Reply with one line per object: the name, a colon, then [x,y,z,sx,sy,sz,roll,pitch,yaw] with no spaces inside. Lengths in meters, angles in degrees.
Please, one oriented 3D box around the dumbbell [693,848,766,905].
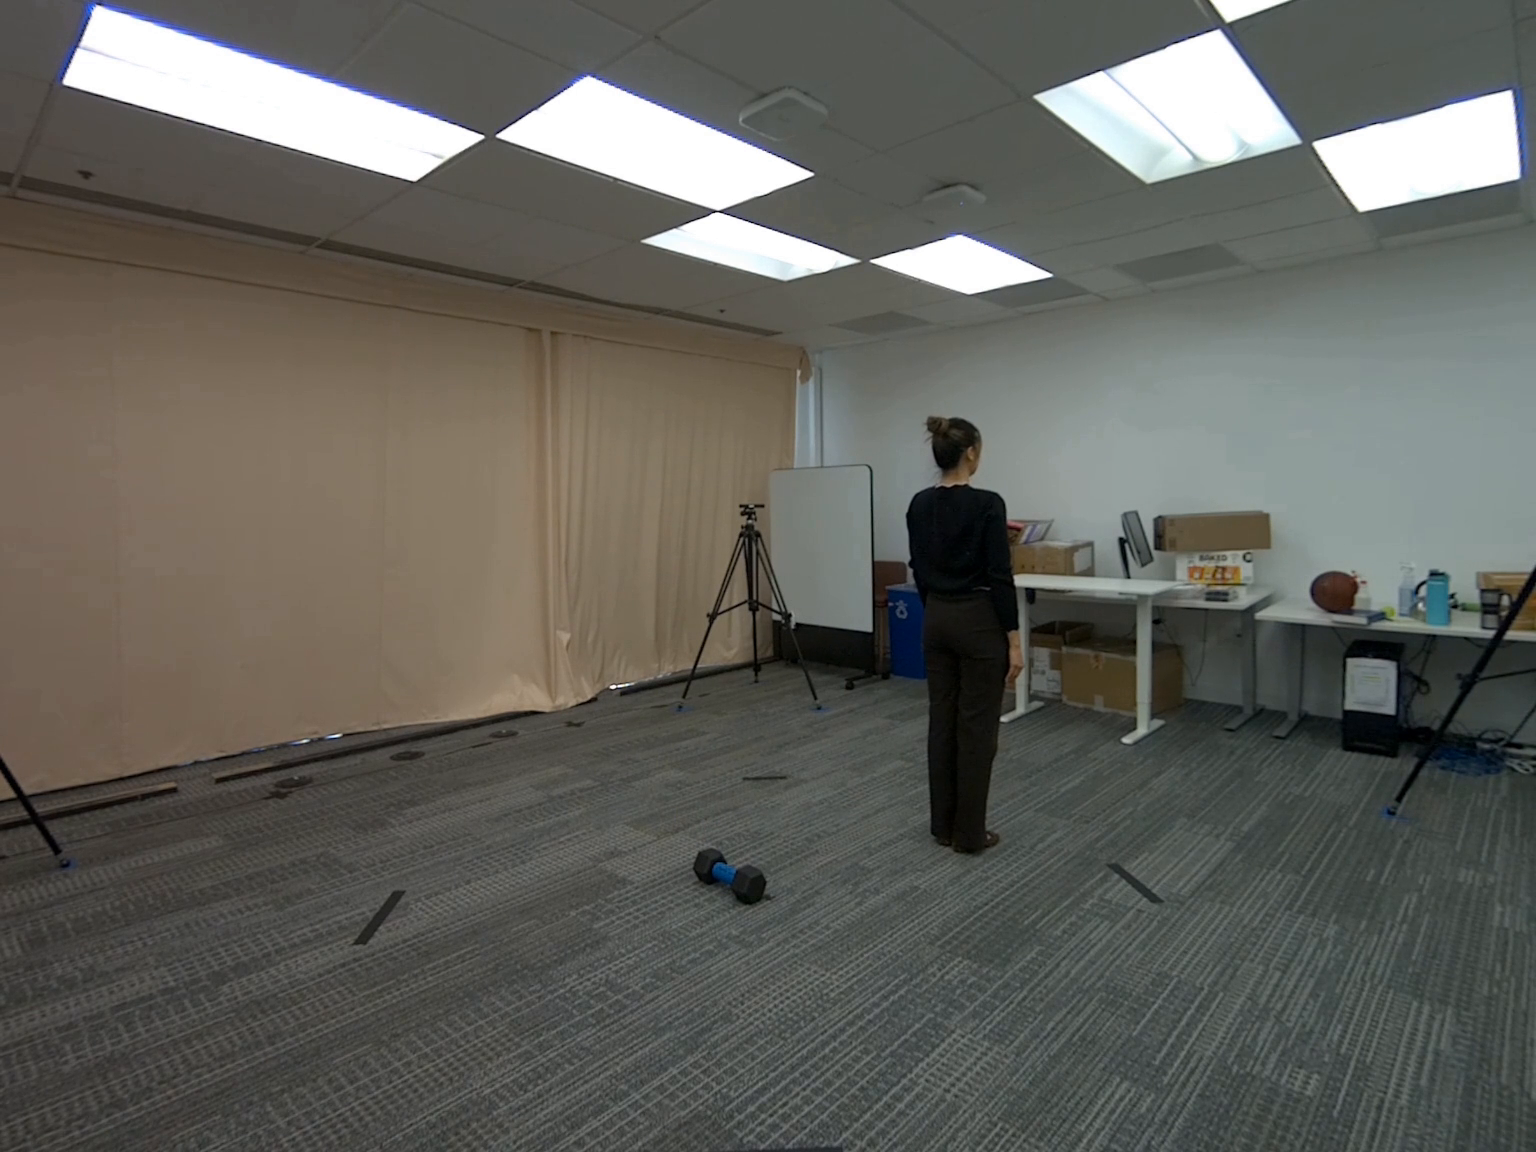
dumbbell: [-0.138,1.082,3.046,0.119,0.108,0.303,-4,6,-43]
